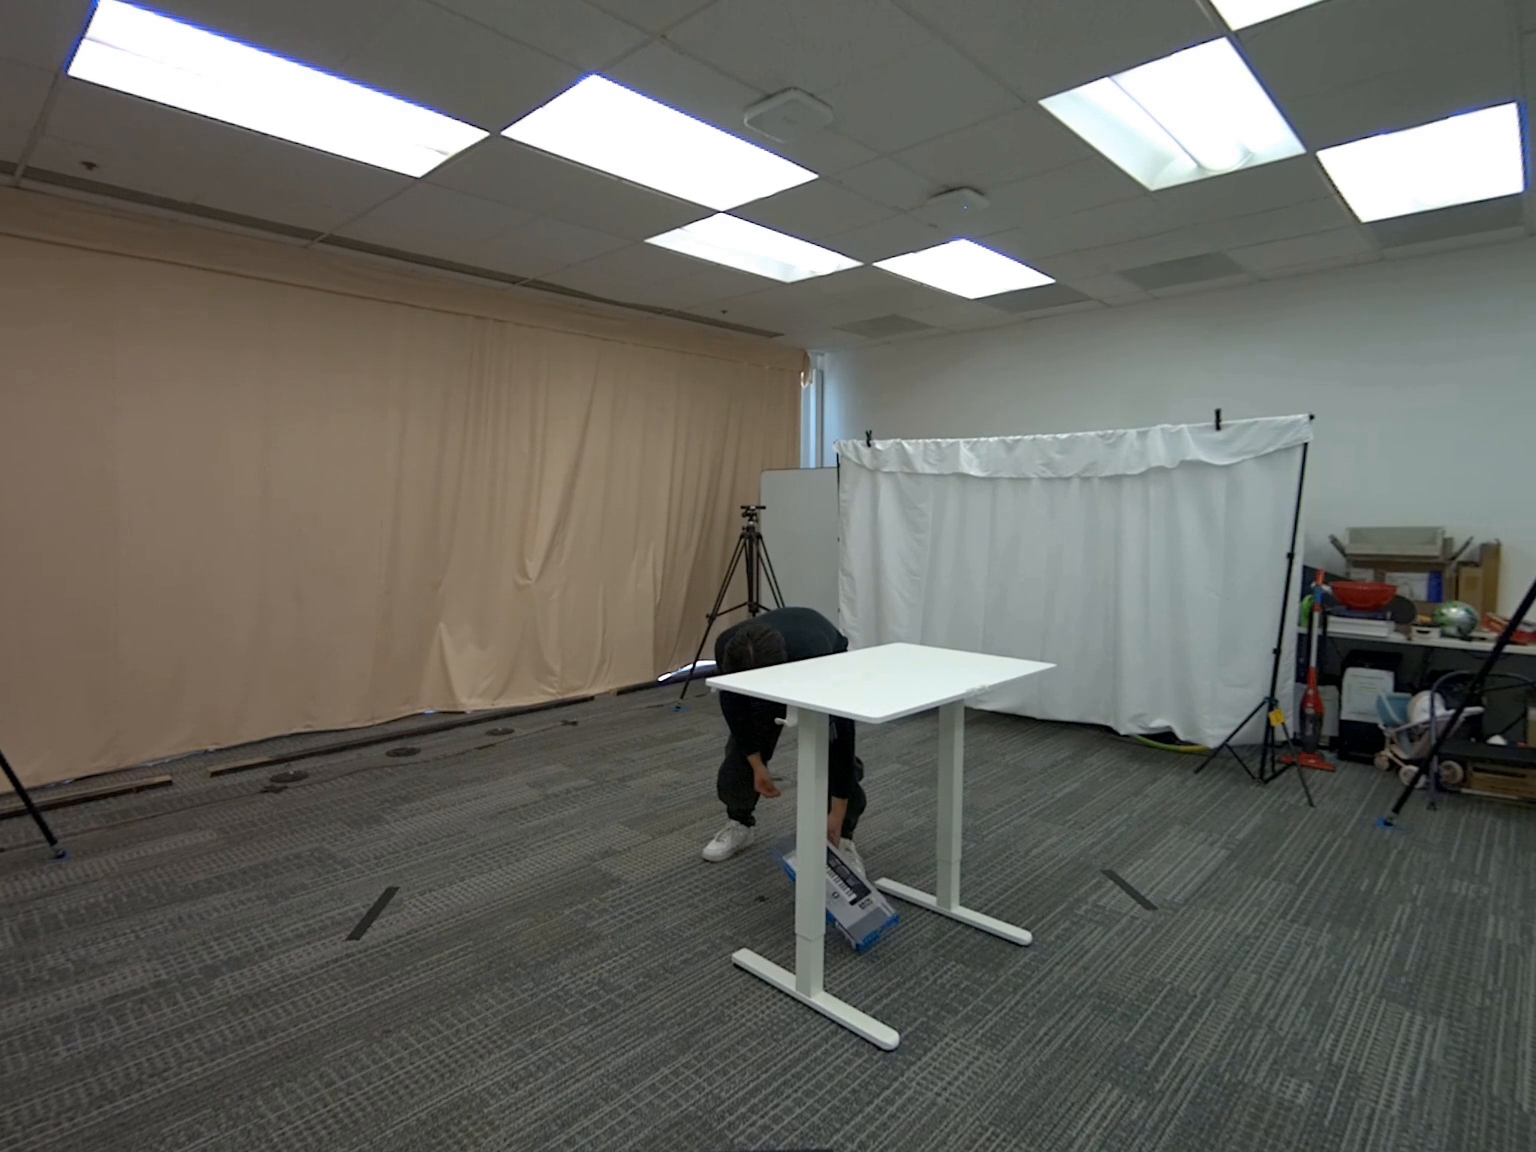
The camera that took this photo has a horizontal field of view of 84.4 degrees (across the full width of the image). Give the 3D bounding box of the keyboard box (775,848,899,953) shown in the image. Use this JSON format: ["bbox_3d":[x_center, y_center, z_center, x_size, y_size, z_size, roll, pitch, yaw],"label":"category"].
[{"bbox_3d":[0.208,1.003,2.755,0.173,0.058,0.453,-22,37,-25],"label":"keyboard box"}]
